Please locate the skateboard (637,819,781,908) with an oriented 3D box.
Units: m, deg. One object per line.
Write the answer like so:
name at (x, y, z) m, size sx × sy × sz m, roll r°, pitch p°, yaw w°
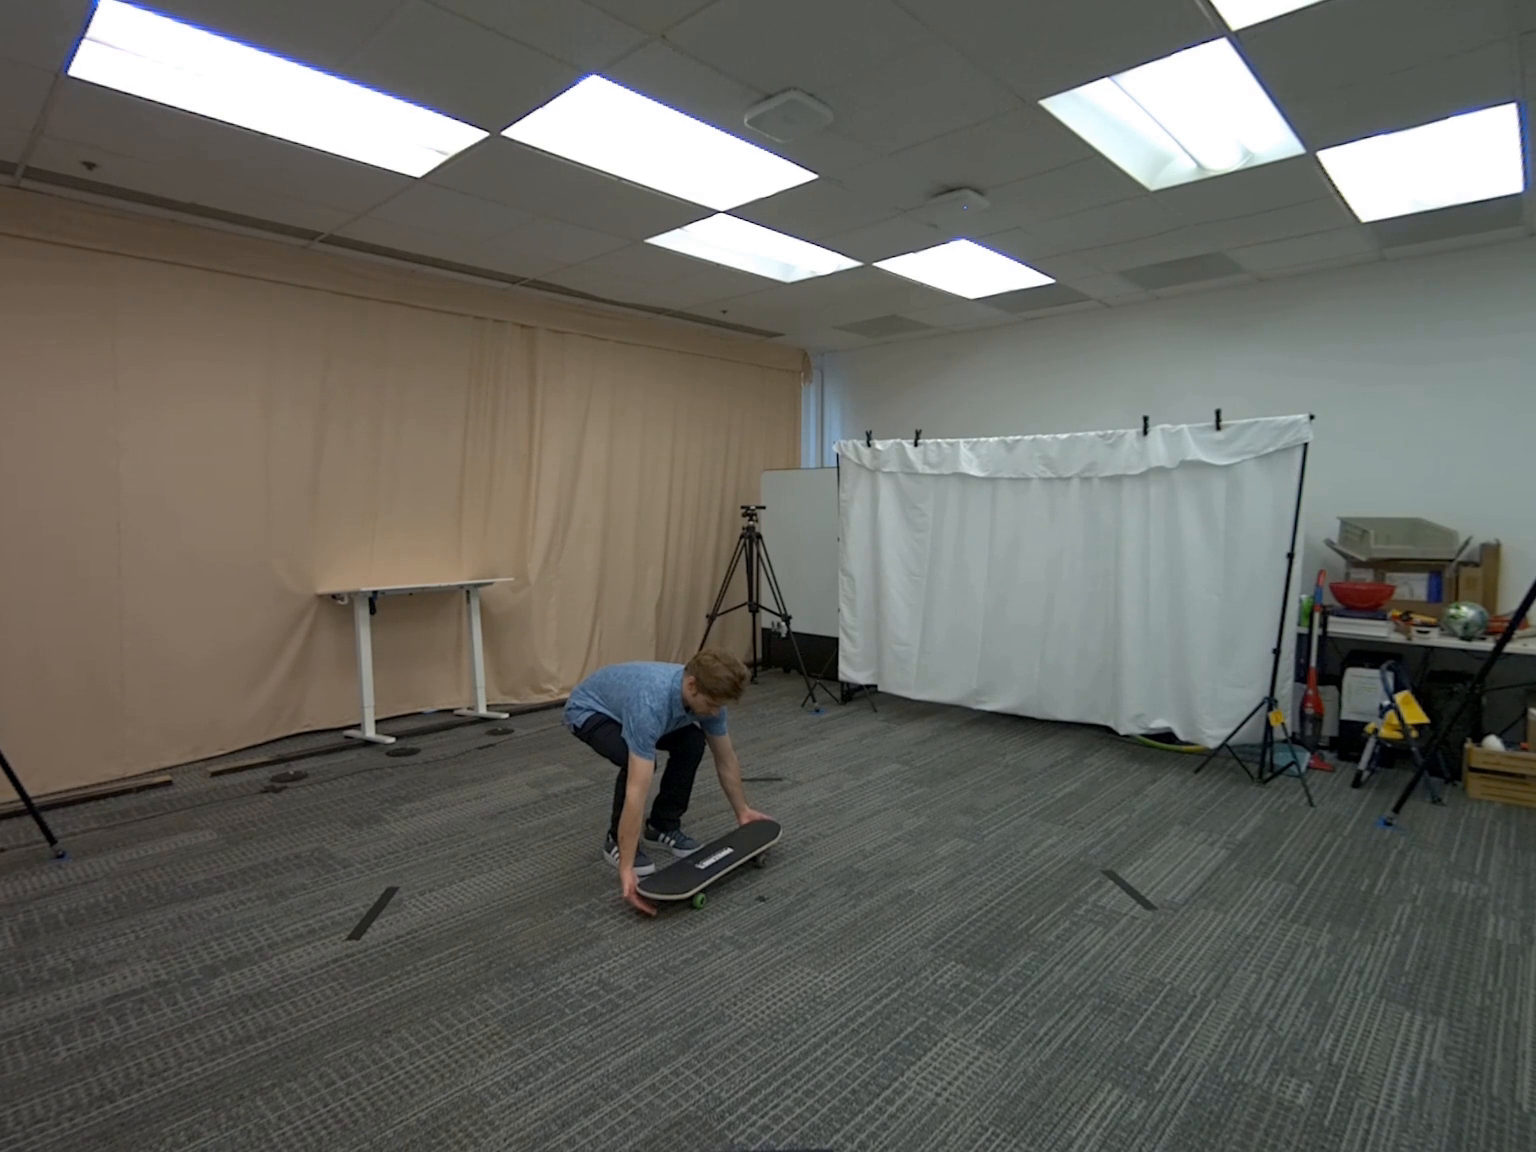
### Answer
skateboard at (-0.197, 1.070, 3.128) m, size 0.199 × 0.110 × 0.763 m, roll 3°, pitch 5°, yaw 34°
